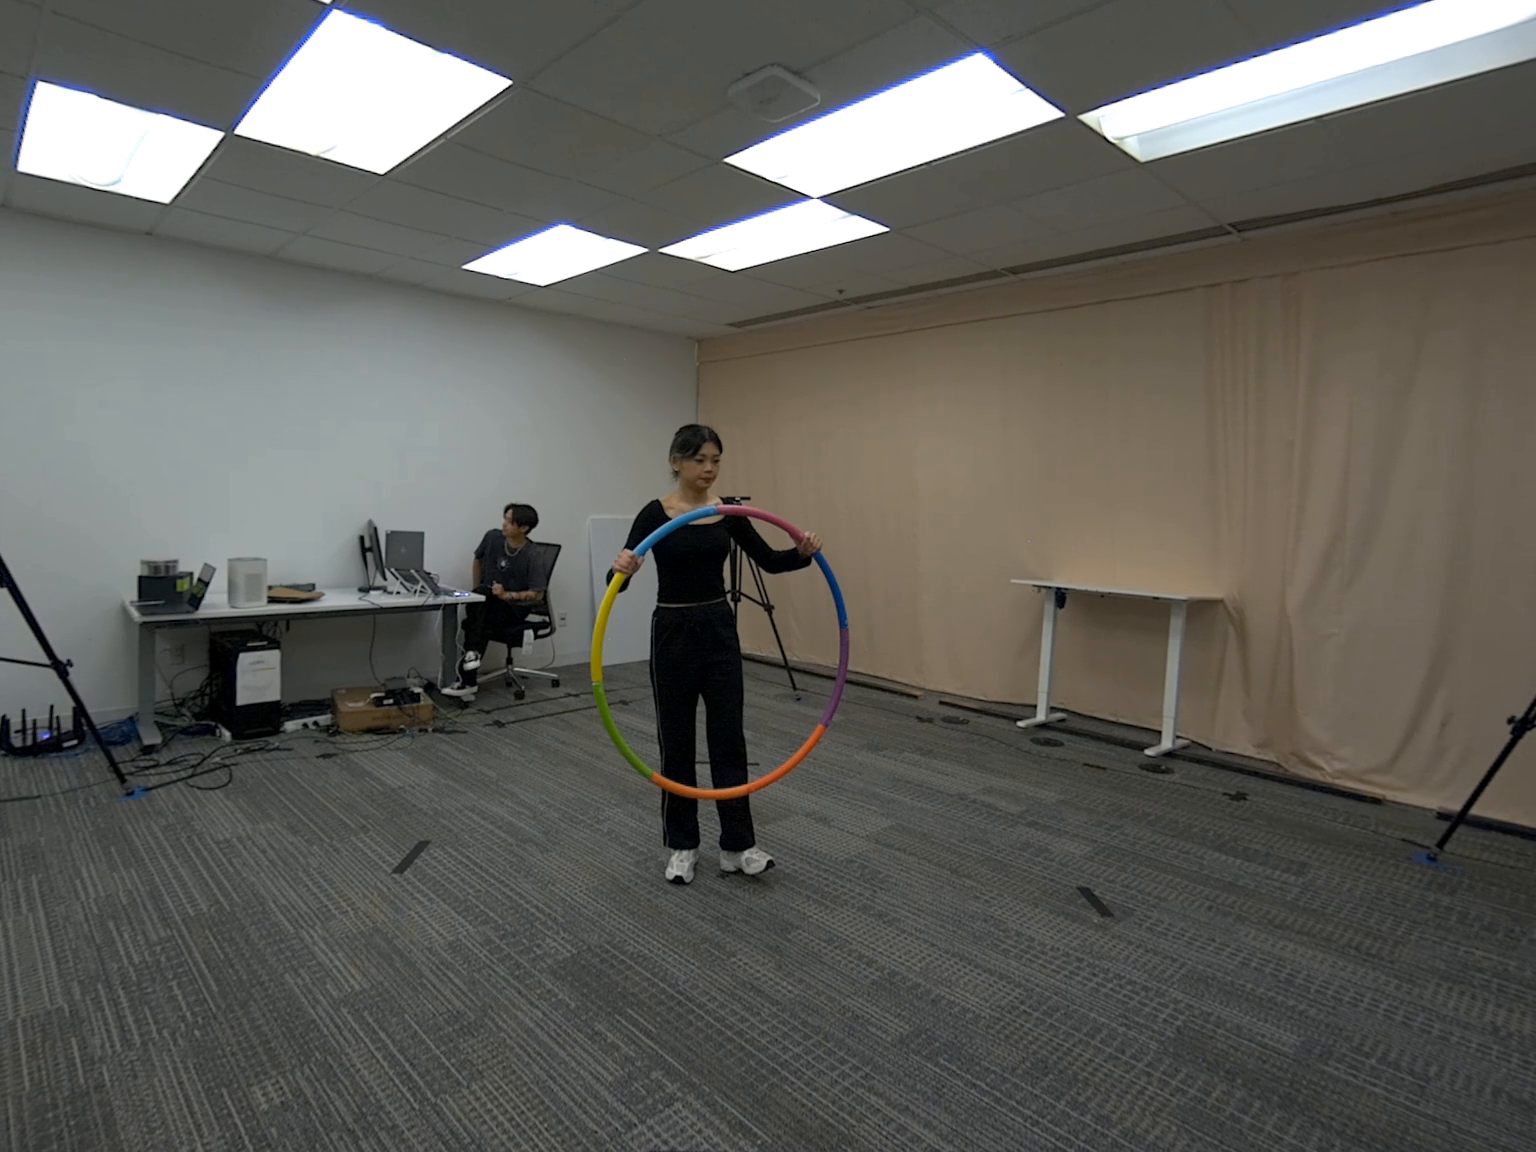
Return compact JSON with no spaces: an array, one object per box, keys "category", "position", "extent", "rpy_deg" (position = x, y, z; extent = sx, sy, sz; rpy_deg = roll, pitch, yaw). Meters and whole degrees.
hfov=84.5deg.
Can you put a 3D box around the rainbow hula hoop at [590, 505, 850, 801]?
[{"category":"rainbow hula hoop","position":[-0.135,0.262,2.847],"extent":[0.960,0.977,0.036],"rpy_deg":[-1,3,-28]}]
